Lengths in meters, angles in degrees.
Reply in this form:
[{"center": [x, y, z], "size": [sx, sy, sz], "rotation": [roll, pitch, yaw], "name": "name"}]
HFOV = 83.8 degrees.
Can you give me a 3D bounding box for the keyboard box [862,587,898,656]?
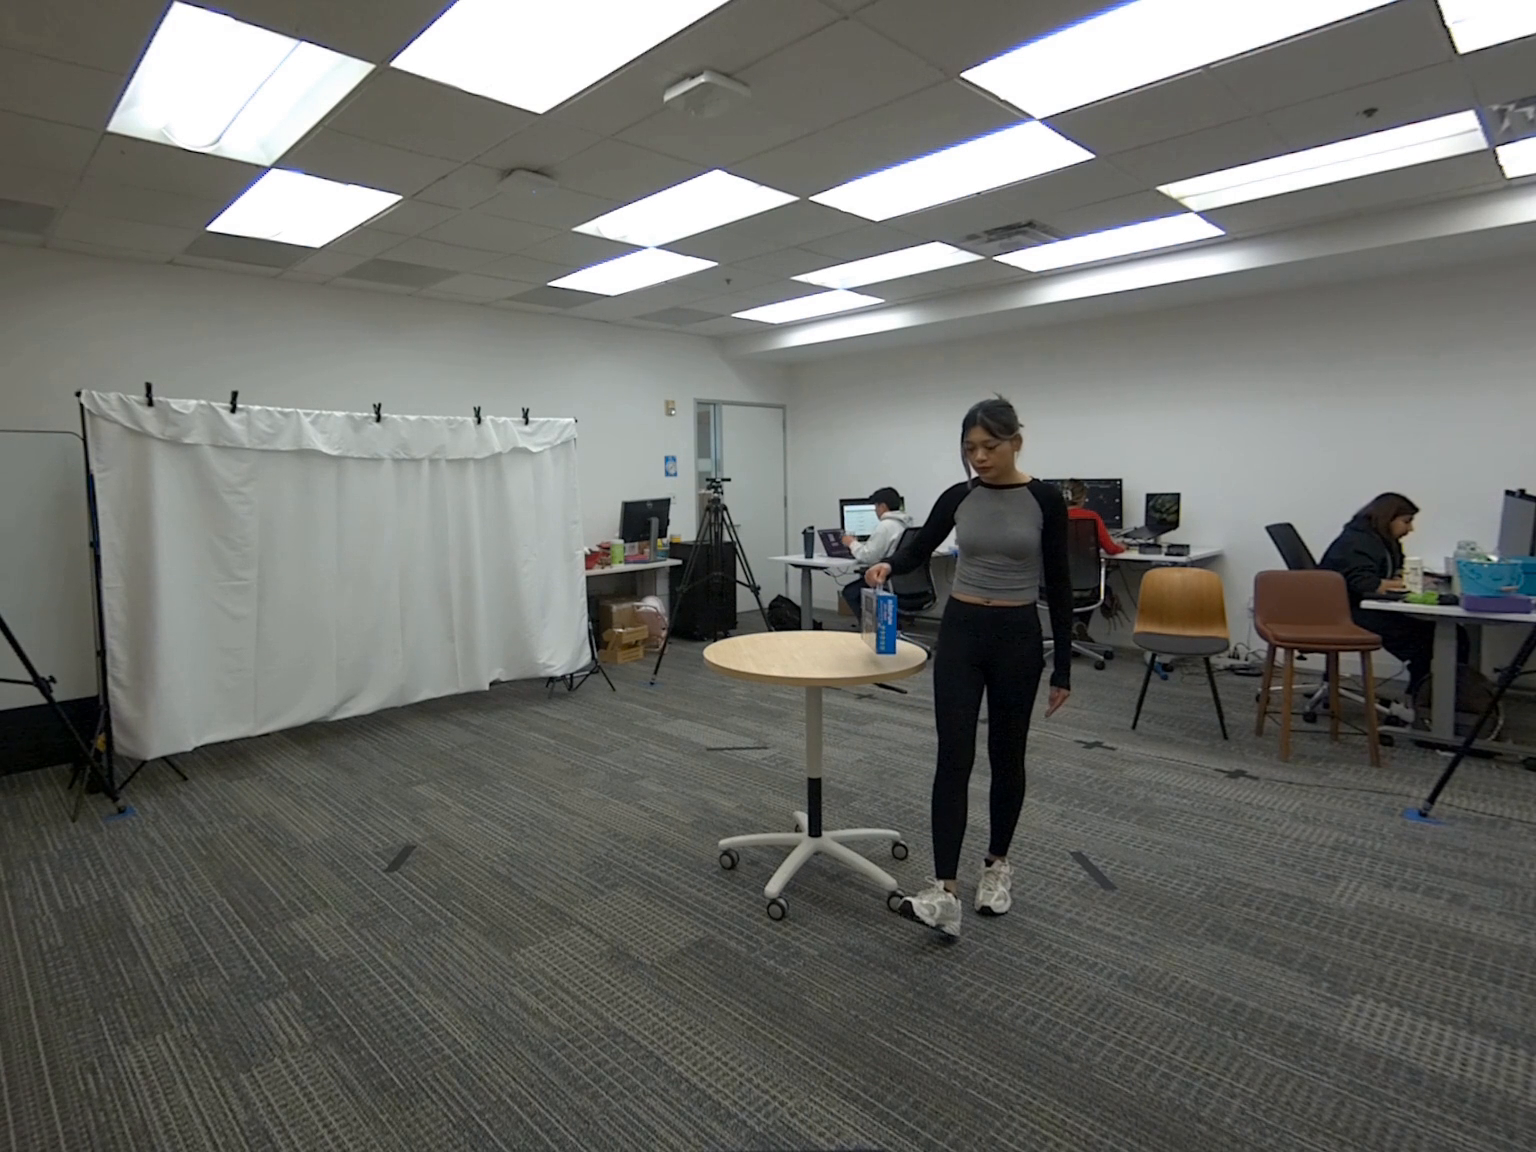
[{"center": [0.348, 0.135, 2.692], "size": [0.059, 0.176, 0.436], "rotation": [-1, 1, 0], "name": "keyboard box"}]
